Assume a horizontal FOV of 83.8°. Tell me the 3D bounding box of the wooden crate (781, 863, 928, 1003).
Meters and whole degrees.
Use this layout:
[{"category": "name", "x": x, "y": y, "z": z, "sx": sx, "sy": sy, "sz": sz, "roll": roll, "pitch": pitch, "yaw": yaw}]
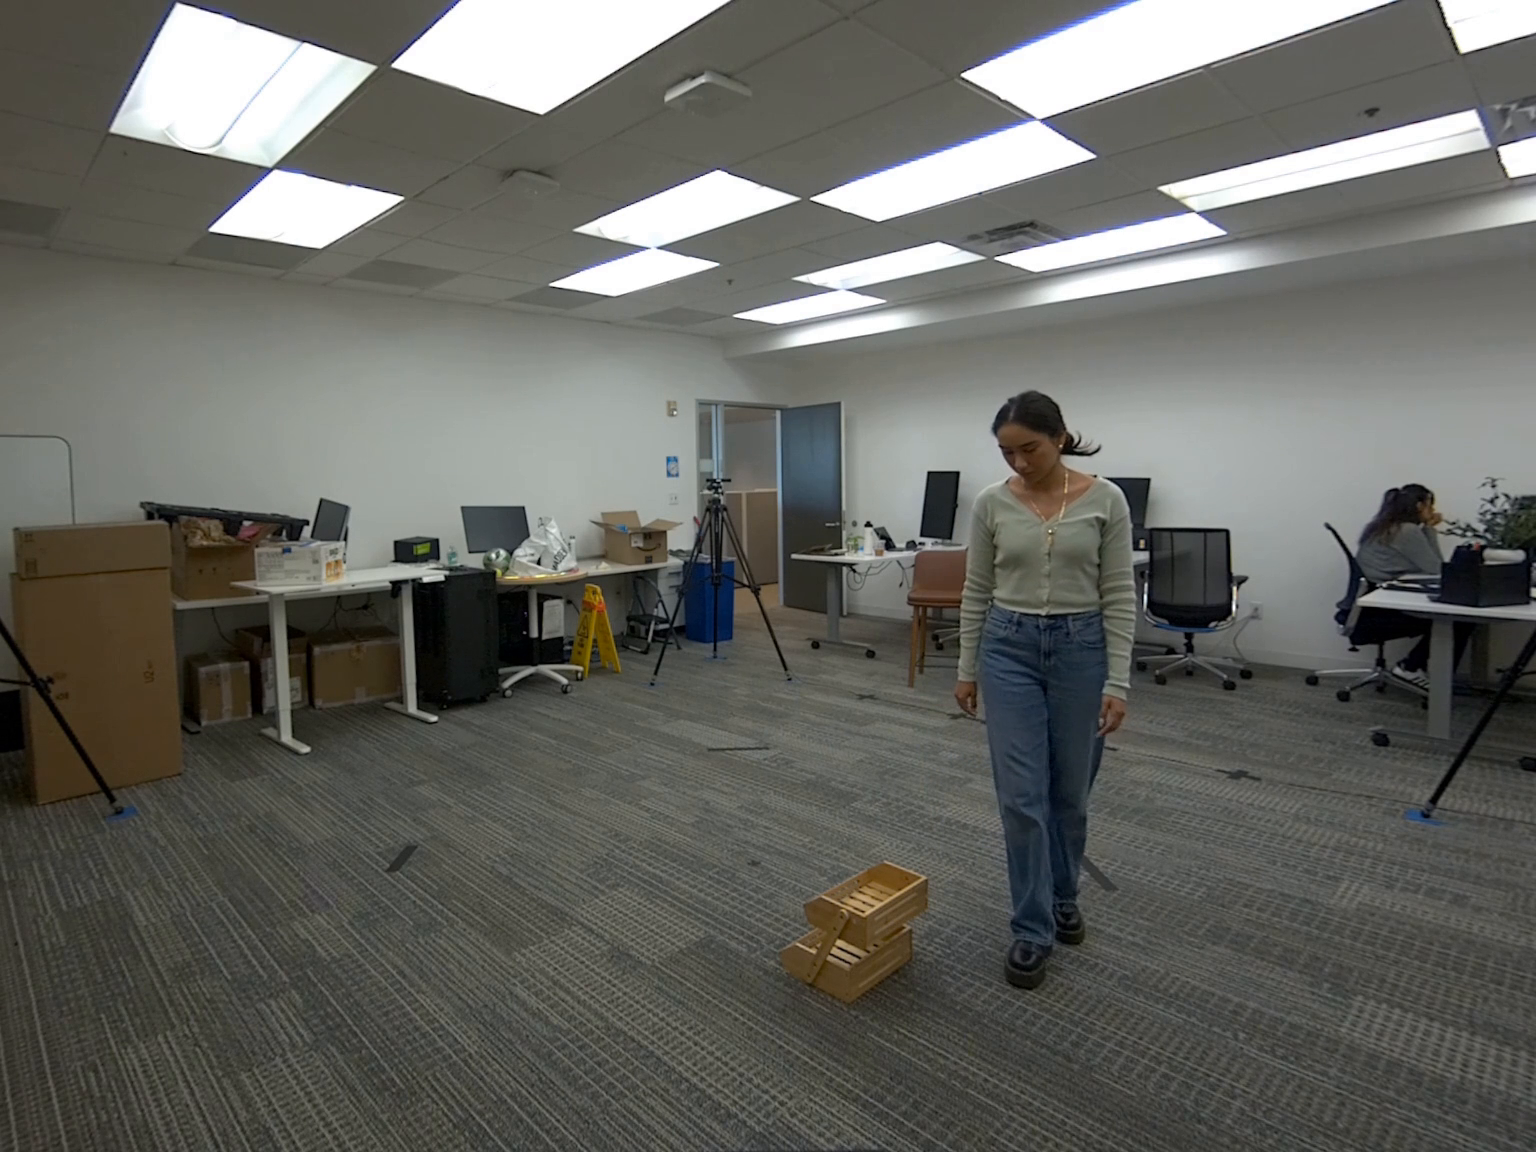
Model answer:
[{"category": "wooden crate", "x": 0.250, "y": 0.982, "z": 2.430, "sx": 0.311, "sy": 0.272, "sz": 0.316, "roll": 5, "pitch": 8, "yaw": 43}]
